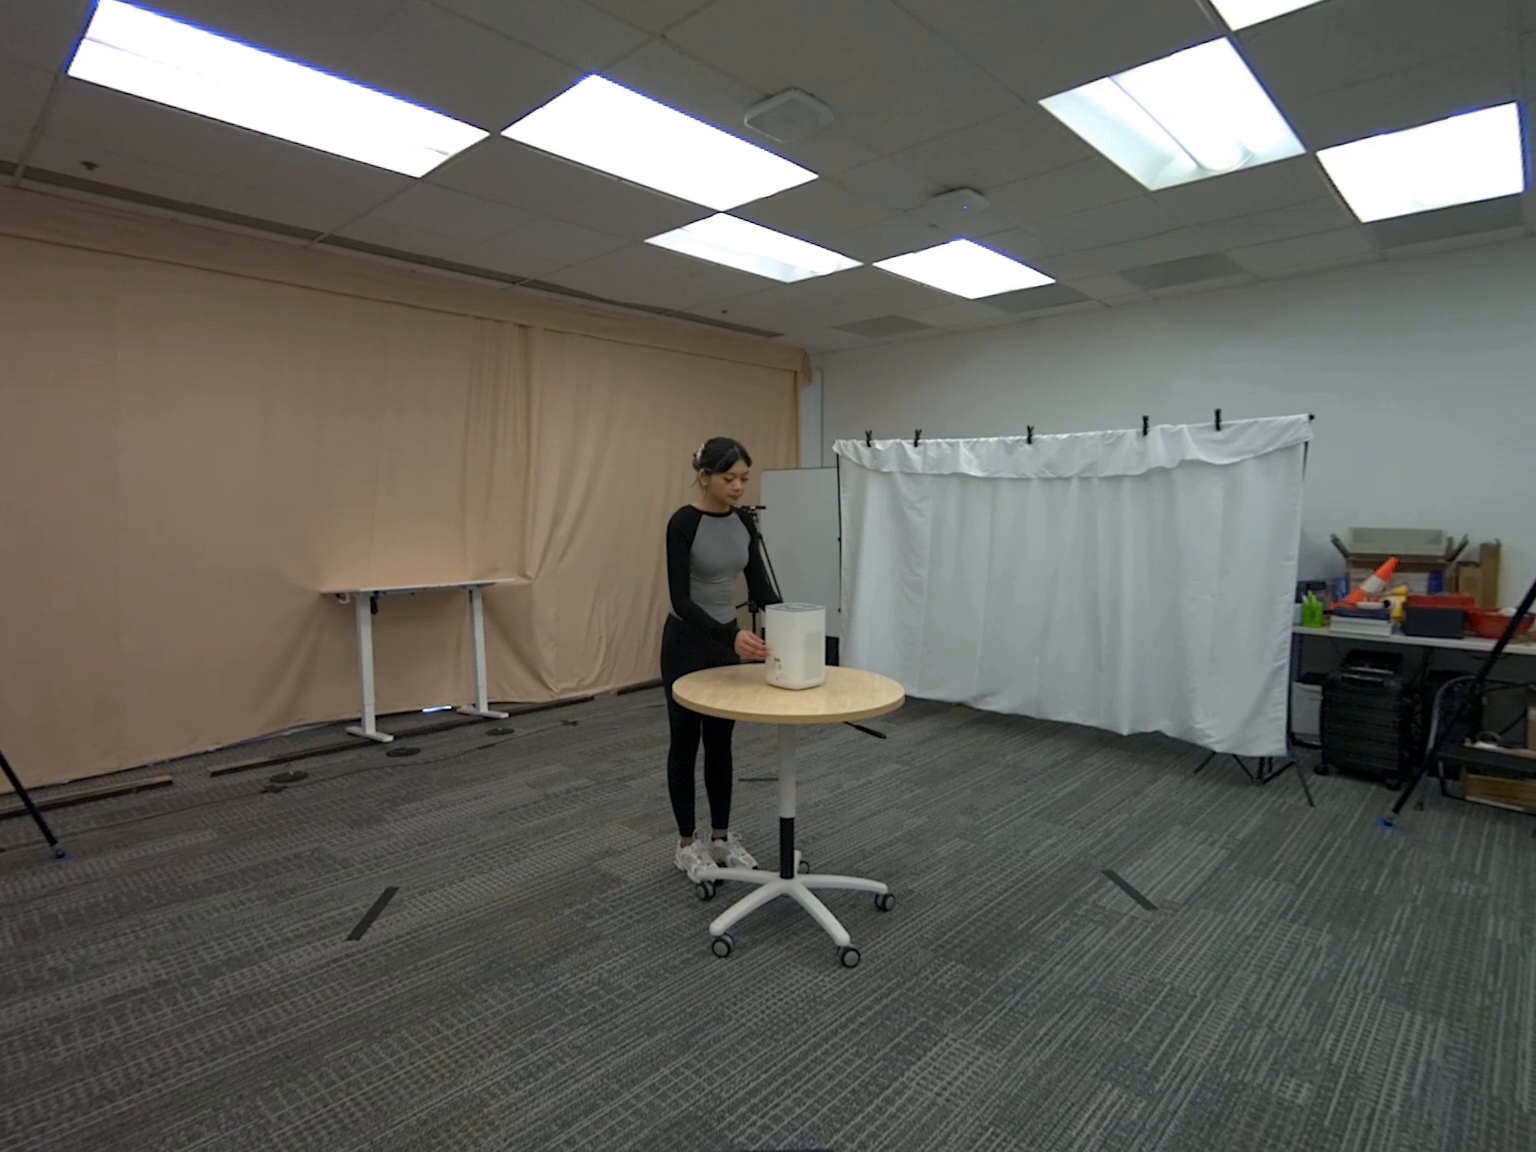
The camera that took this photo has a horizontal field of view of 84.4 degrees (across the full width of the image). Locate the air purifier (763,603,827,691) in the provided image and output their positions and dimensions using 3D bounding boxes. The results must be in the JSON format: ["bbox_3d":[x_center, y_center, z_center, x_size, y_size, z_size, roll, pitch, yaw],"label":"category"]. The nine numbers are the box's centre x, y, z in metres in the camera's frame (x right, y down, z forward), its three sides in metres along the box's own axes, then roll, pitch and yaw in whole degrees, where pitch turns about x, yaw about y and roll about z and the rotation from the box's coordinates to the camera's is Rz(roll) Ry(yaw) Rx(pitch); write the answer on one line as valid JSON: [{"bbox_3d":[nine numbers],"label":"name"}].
[{"bbox_3d":[0.093,0.234,2.806,0.166,0.264,0.177,-4,7,-44],"label":"air purifier"}]
